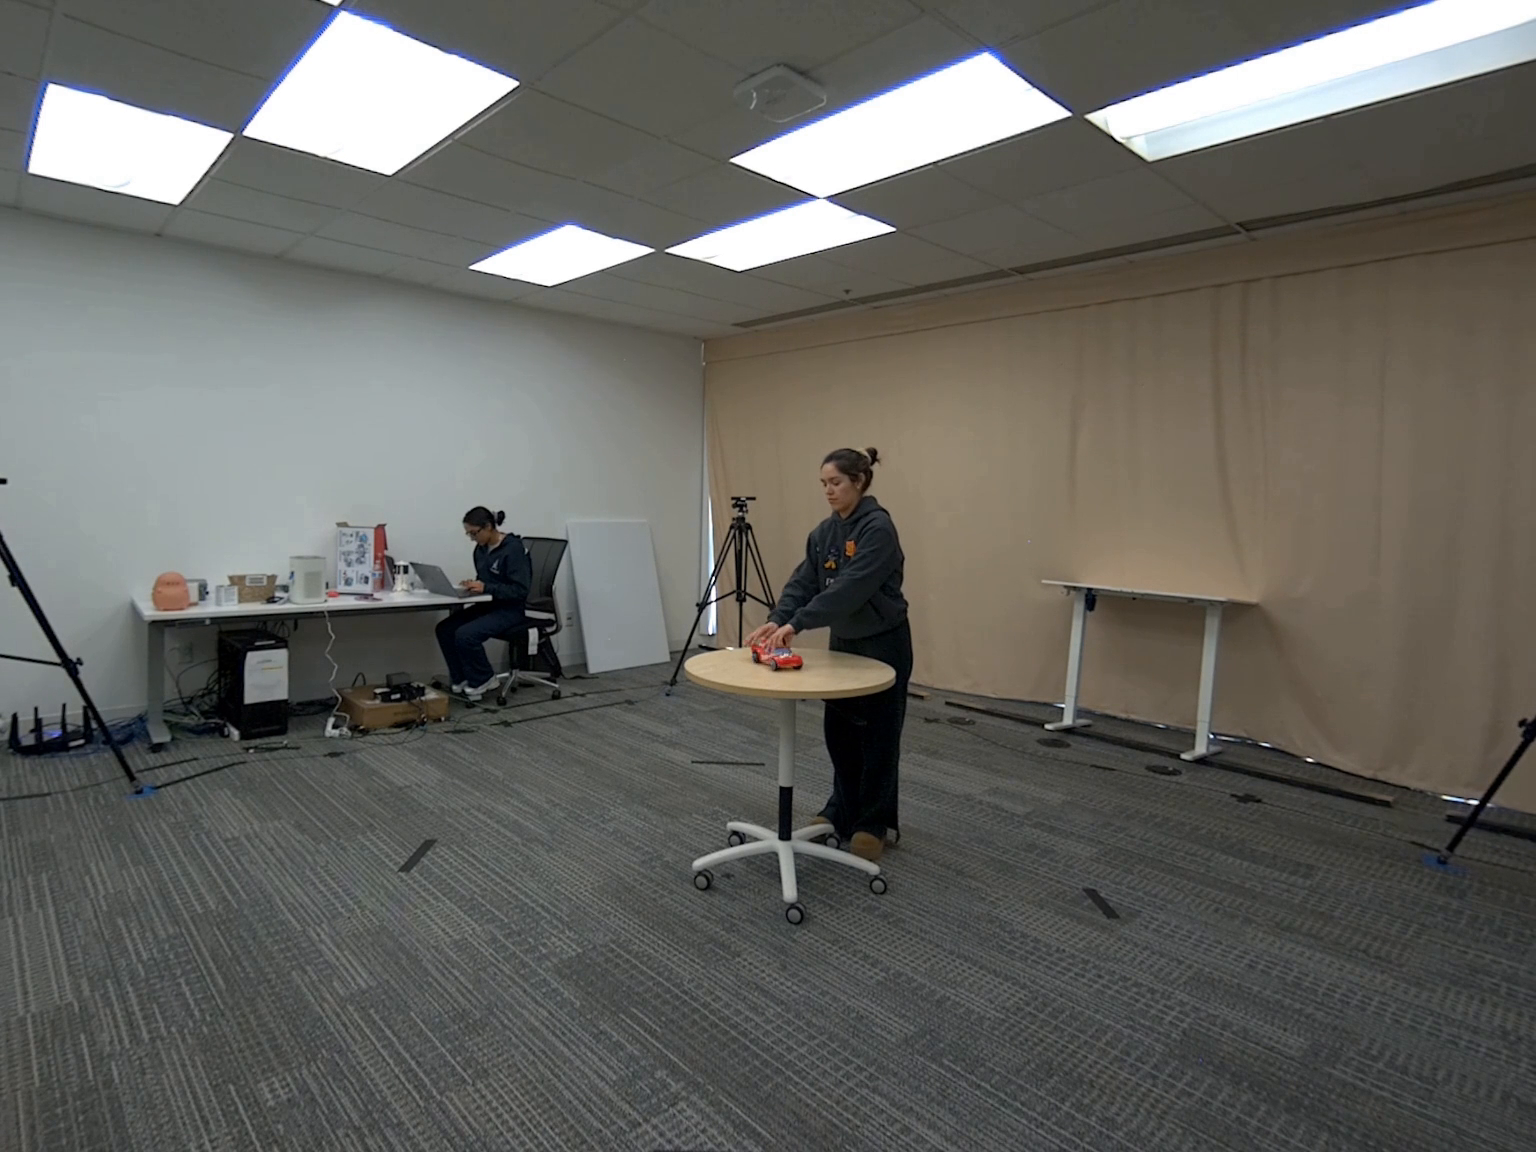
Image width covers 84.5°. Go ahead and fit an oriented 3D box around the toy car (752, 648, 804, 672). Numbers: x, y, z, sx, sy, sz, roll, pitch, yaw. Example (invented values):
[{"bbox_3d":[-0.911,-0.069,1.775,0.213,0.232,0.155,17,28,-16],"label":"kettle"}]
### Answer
[{"bbox_3d":[0.016,0.297,3.101,0.128,0.082,0.261,-1,16,-26],"label":"toy car"}]
